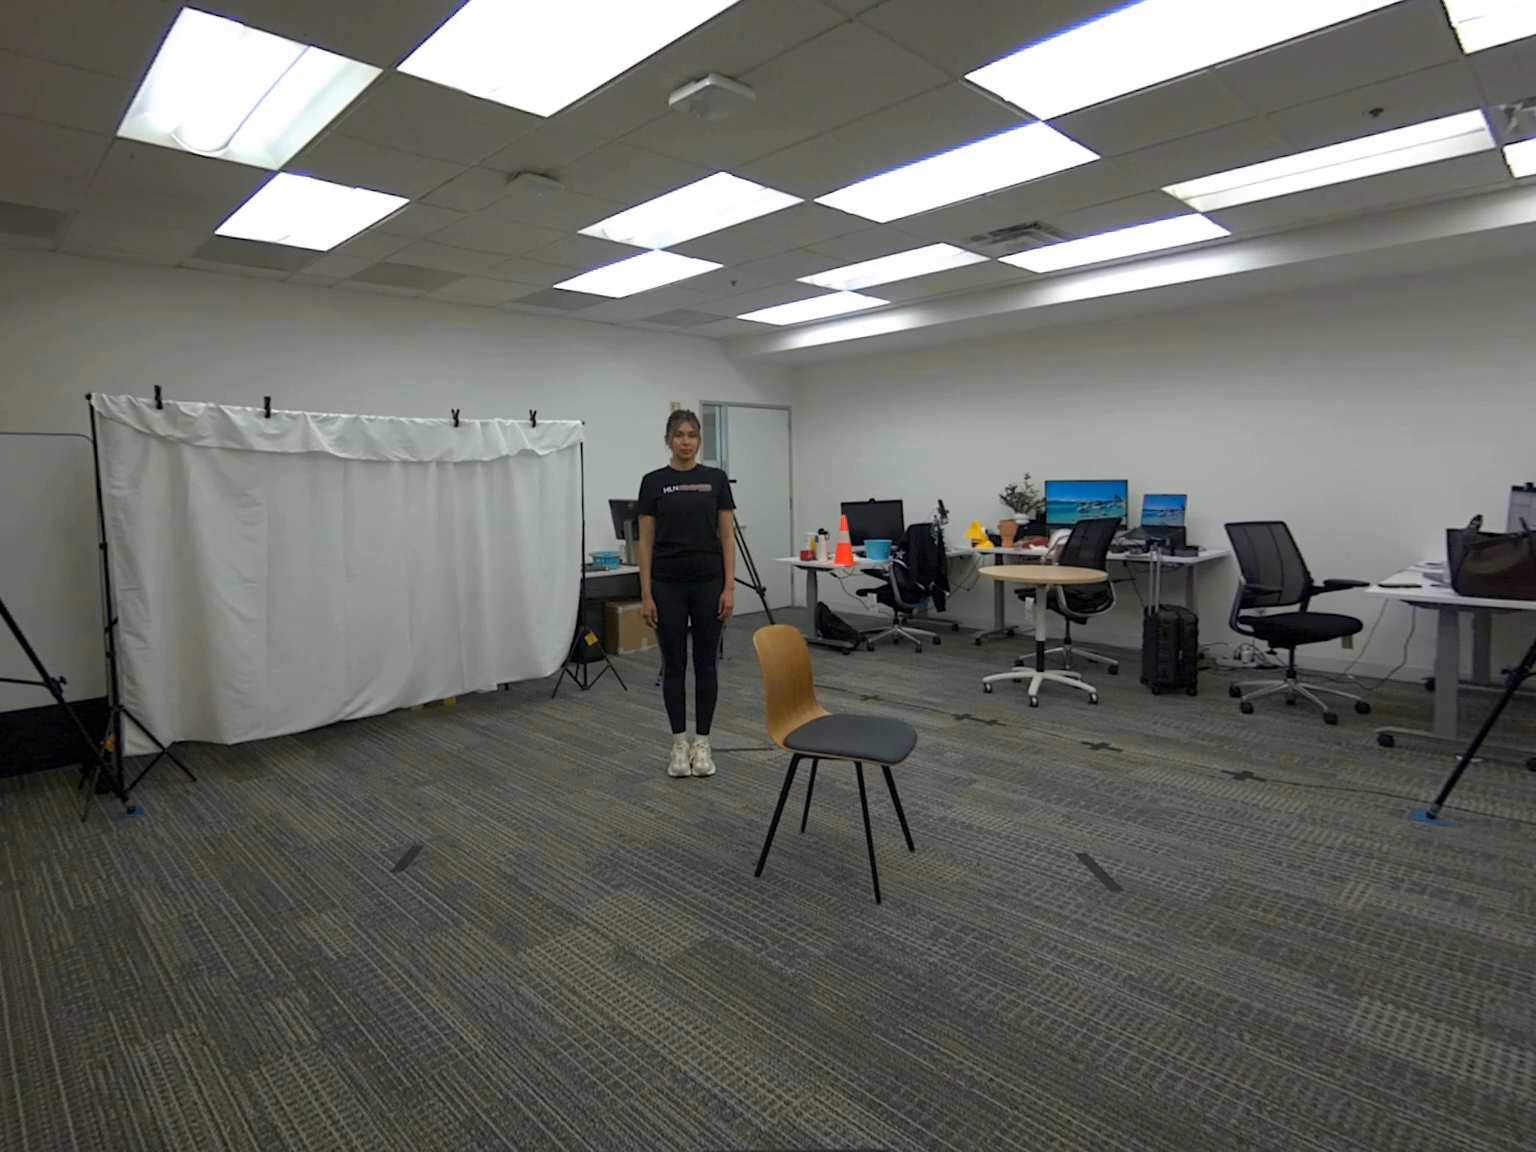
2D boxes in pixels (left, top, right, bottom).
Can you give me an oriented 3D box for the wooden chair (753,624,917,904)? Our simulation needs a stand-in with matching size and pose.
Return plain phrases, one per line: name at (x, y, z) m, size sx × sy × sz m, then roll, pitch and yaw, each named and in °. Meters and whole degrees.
wooden chair at (0.254, 0.617, 3.068) m, size 0.535 × 0.876 × 0.468 m, roll -4°, pitch 2°, yaw 26°
